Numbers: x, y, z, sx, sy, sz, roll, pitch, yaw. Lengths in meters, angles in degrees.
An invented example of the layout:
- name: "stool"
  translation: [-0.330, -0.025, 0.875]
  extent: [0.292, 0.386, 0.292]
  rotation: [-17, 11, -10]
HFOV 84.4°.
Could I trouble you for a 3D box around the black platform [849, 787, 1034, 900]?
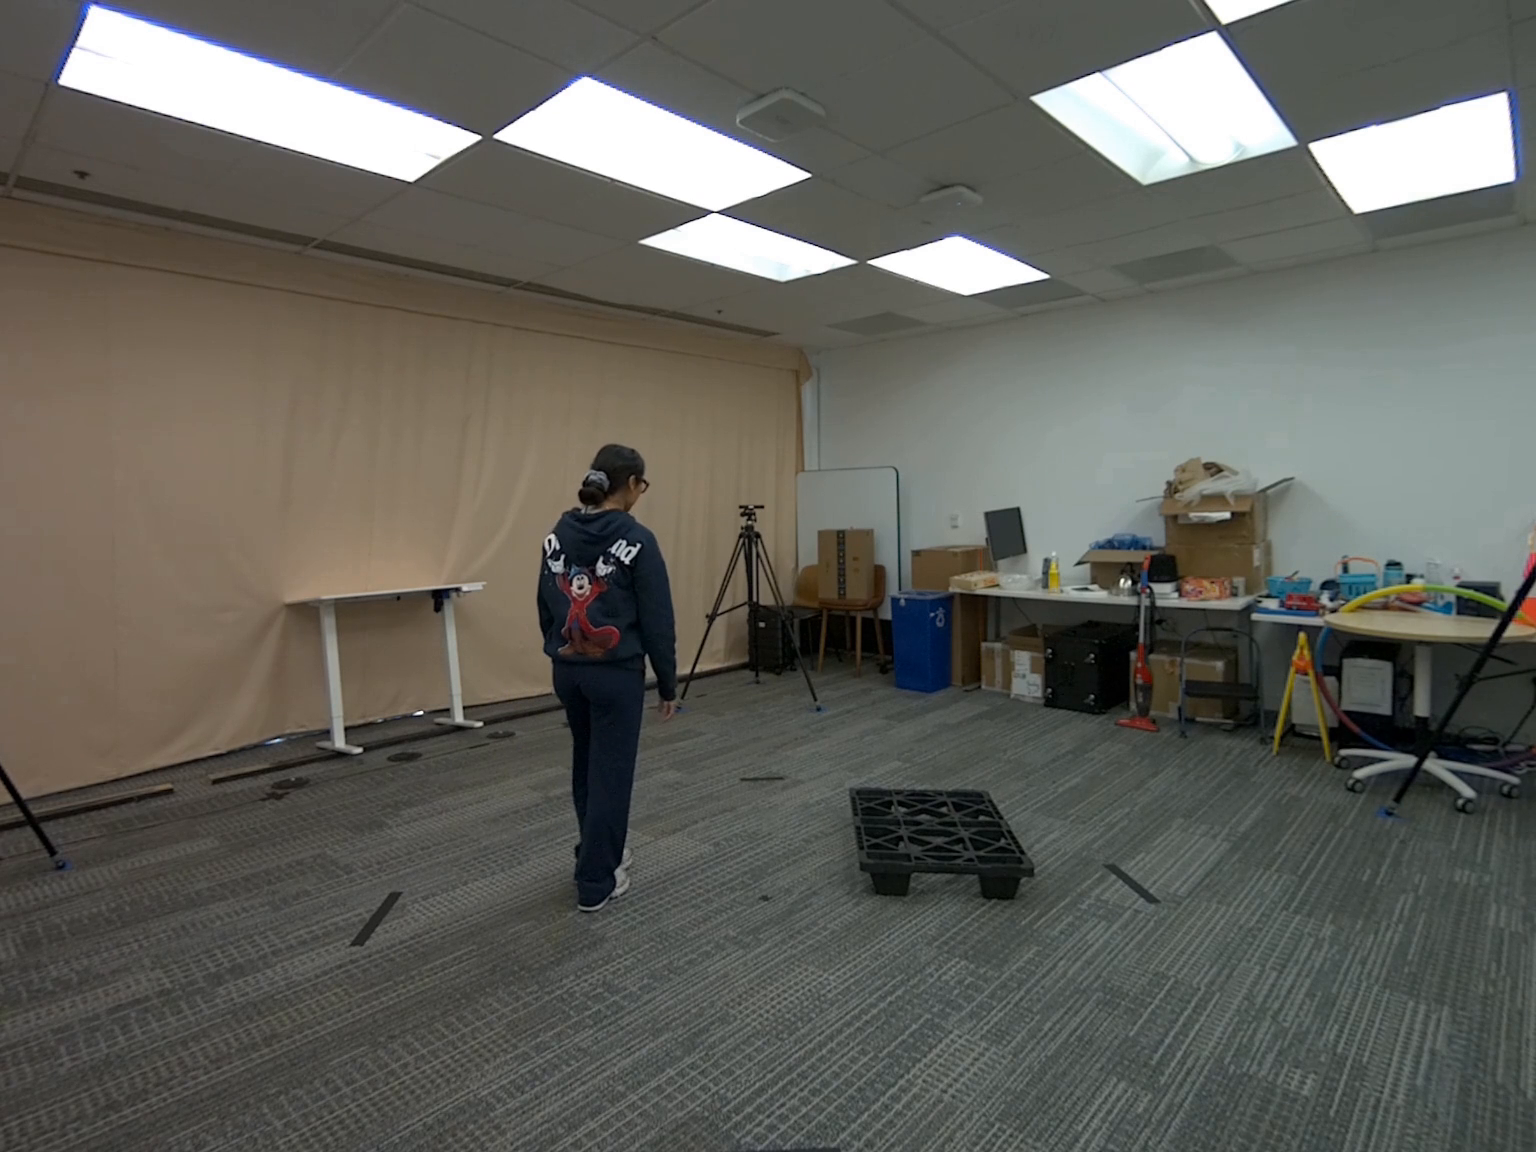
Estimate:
- name: "black platform"
  translation: [0.647, 1.033, 3.315]
  extent: [0.609, 0.143, 0.803]
  rotation: [0, 5, 4]
